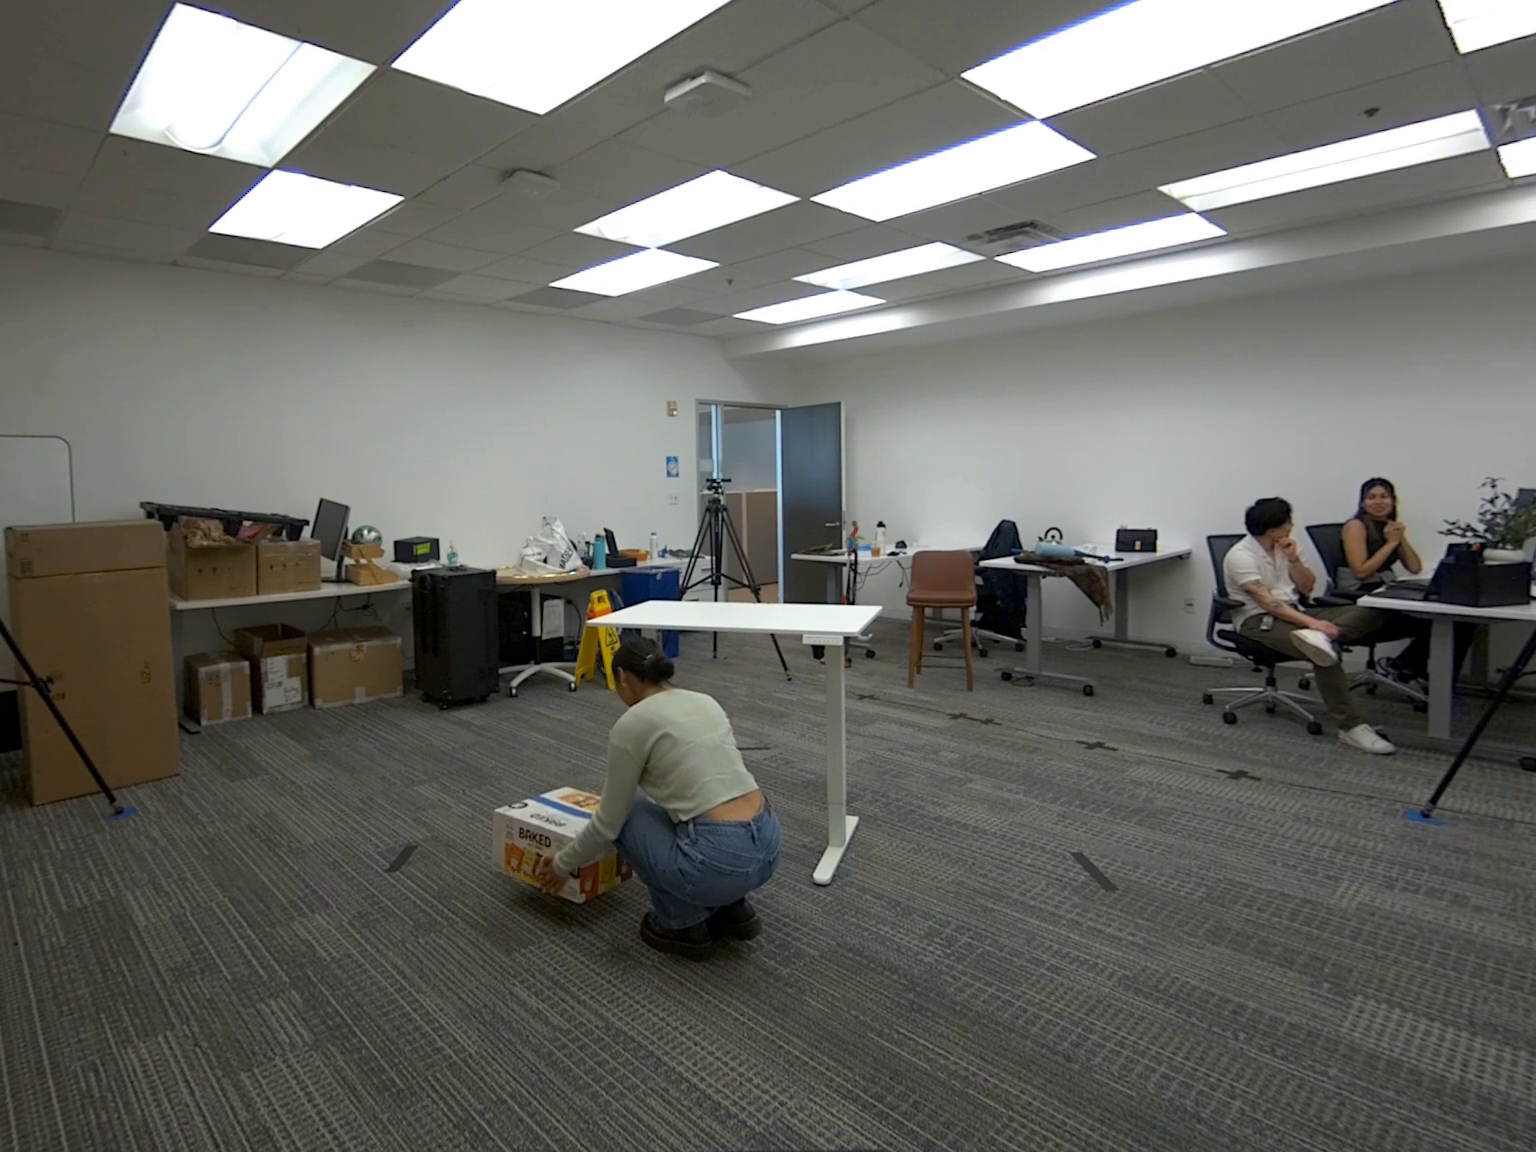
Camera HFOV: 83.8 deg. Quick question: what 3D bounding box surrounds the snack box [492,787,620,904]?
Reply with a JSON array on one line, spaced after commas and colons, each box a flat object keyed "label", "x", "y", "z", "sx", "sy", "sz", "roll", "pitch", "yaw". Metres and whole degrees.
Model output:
[{"label": "snack box", "x": -0.663, "y": 0.902, "z": 2.884, "sx": 0.416, "sy": 0.205, "sz": 0.331, "roll": 3, "pitch": 3, "yaw": 33}]
